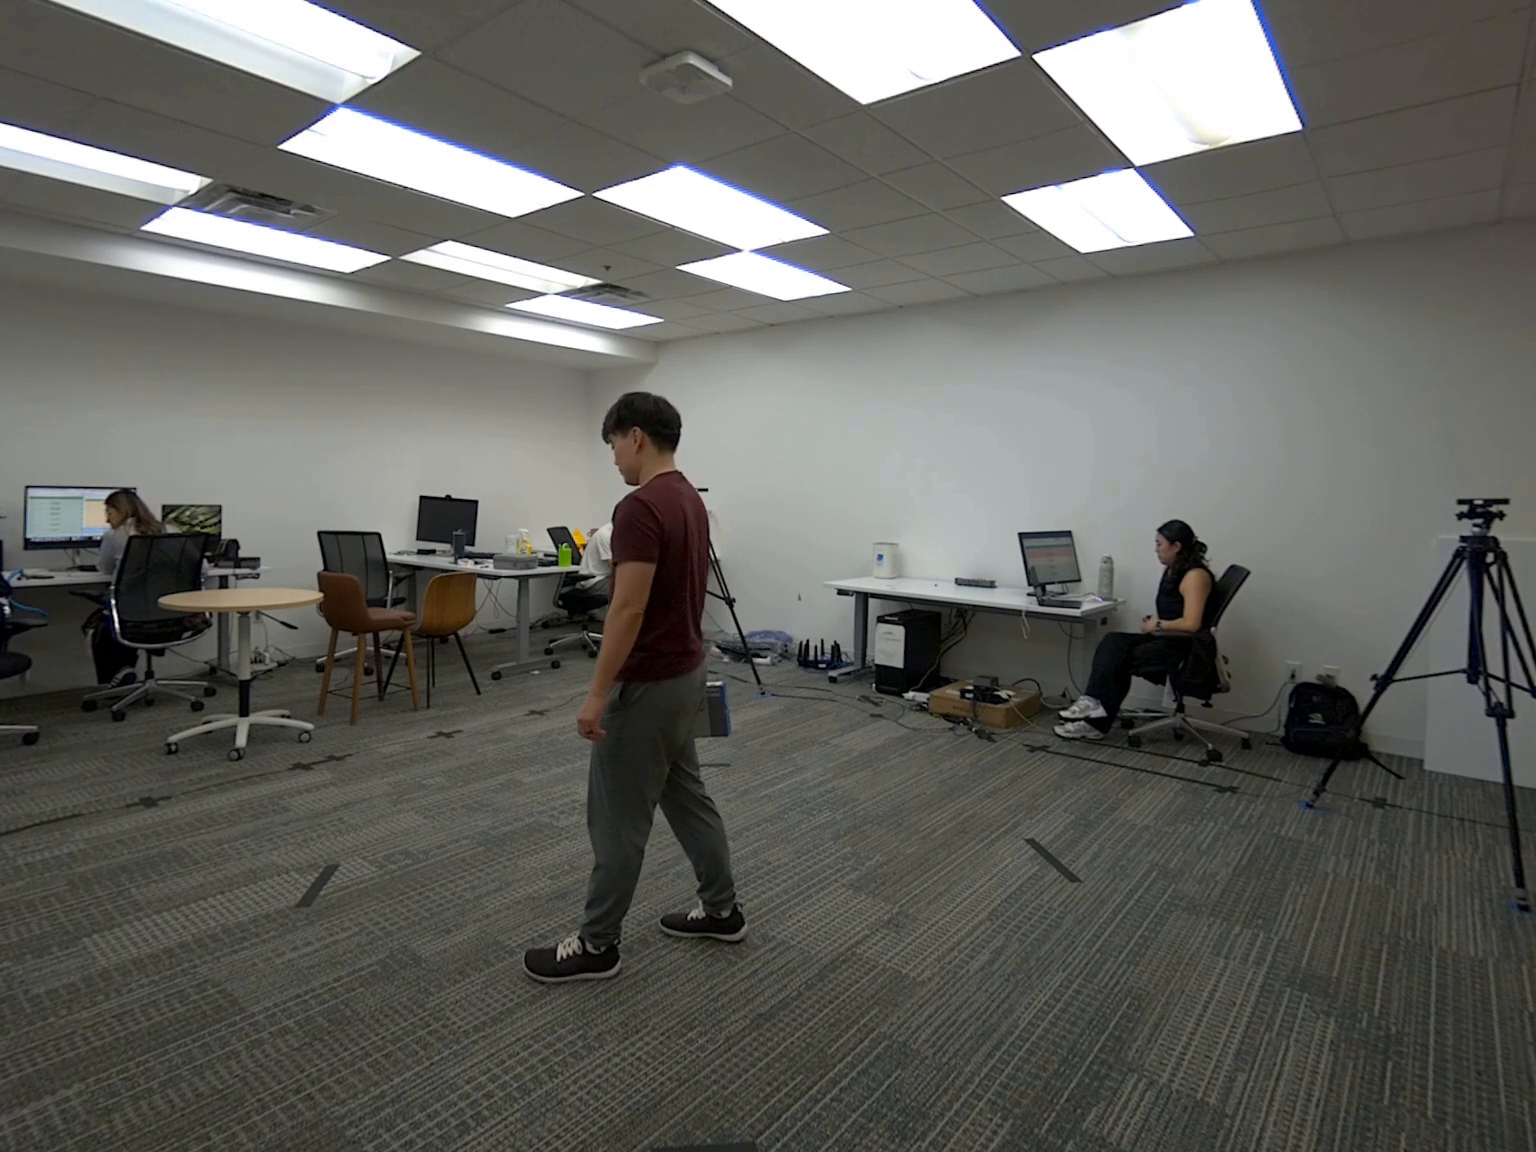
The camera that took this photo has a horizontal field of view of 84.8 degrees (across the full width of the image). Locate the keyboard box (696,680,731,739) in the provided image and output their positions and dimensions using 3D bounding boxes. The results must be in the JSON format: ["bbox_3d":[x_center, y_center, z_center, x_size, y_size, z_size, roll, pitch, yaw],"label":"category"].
[{"bbox_3d":[-0.360,0.449,2.825,0.442,0.175,0.058,-5,3,12],"label":"keyboard box"}]
